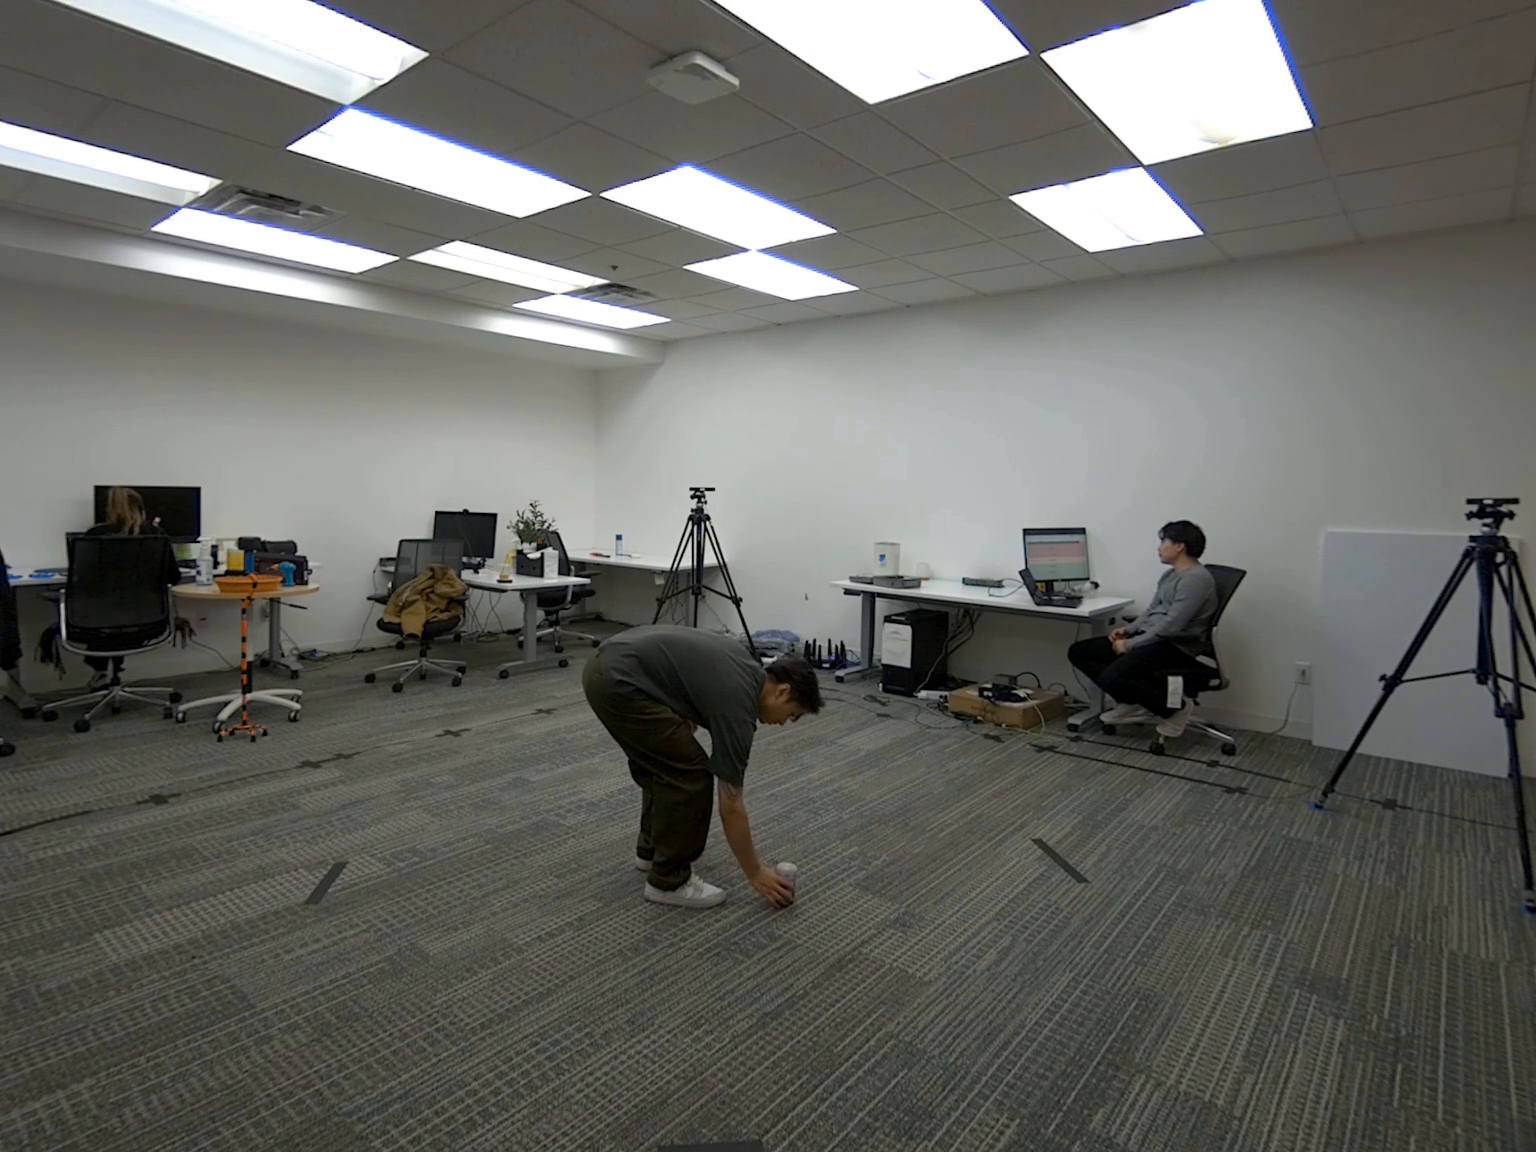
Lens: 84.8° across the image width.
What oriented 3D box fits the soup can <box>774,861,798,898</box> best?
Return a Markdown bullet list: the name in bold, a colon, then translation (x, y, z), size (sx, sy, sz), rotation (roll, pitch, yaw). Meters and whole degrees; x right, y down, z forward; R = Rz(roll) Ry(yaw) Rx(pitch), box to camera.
- **soup can**: translation (0.049, 1.034, 2.870), size (0.067, 0.122, 0.067), rotation (2, -2, -2)
